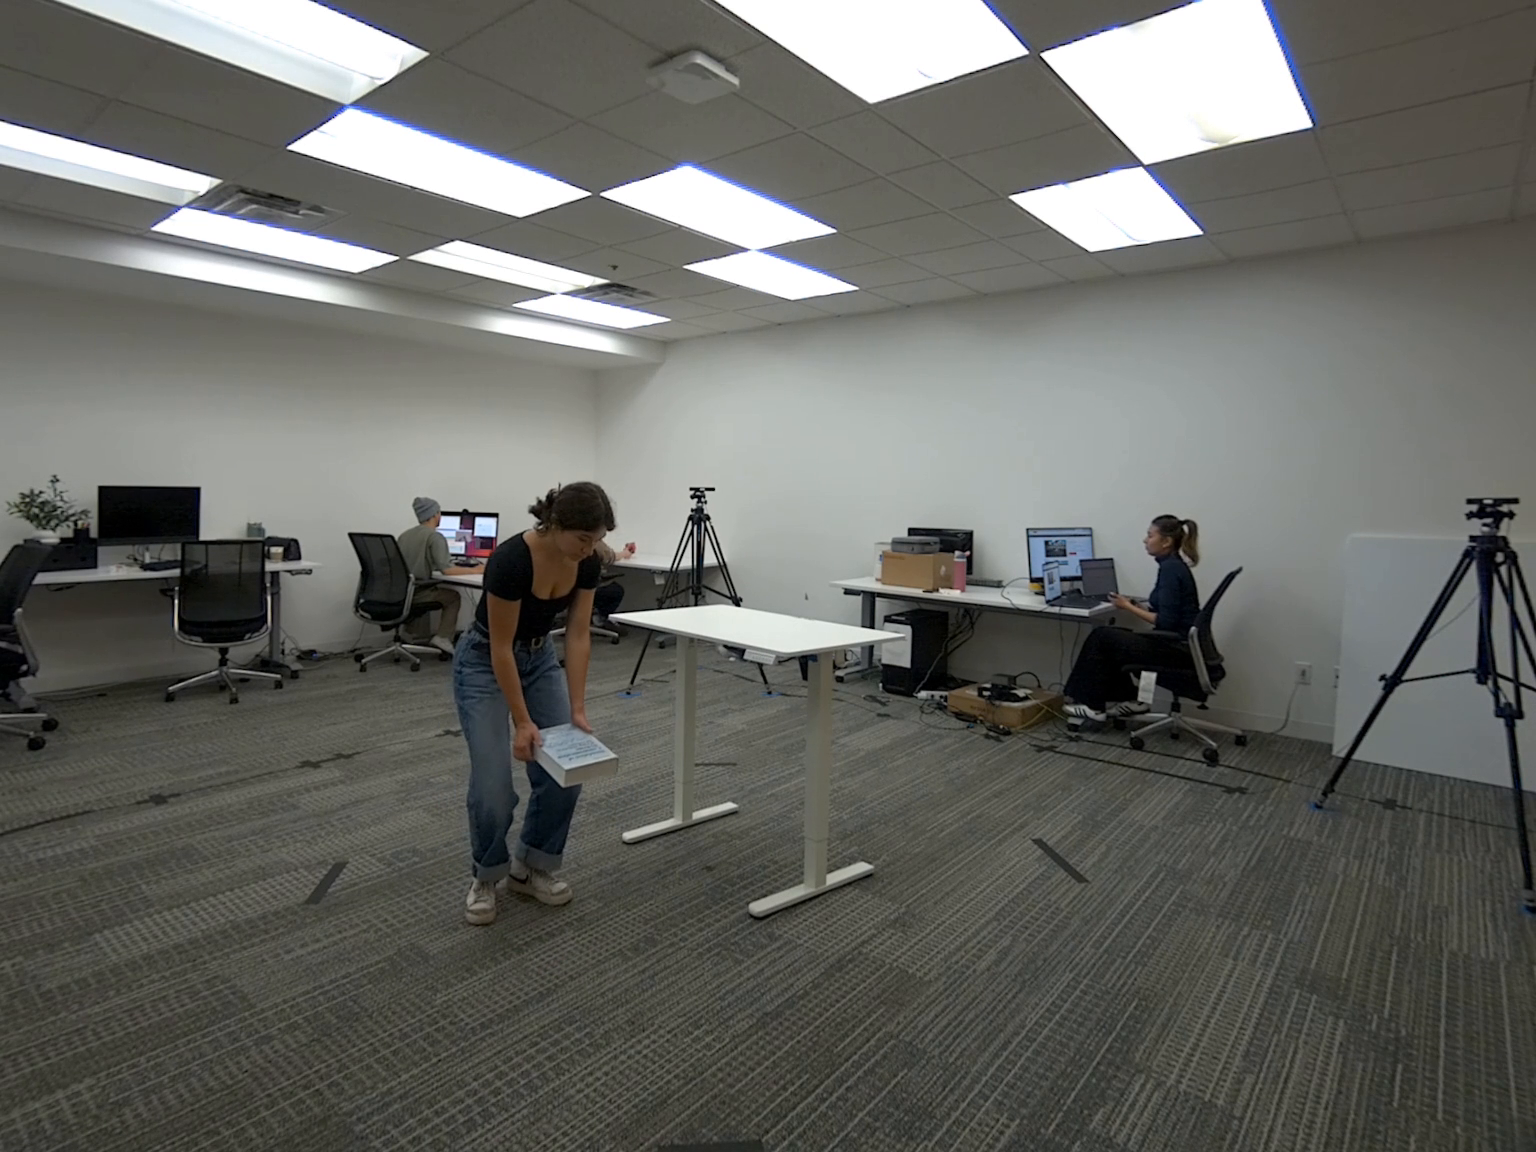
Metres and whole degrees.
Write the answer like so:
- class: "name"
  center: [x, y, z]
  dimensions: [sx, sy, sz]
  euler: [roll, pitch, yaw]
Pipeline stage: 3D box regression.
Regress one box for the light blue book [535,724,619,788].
- class: "light blue book"
  center: [-0.604, 0.548, 2.603]
  dimensions: [0.186, 0.058, 0.271]
  euler: [-5, 16, -38]
